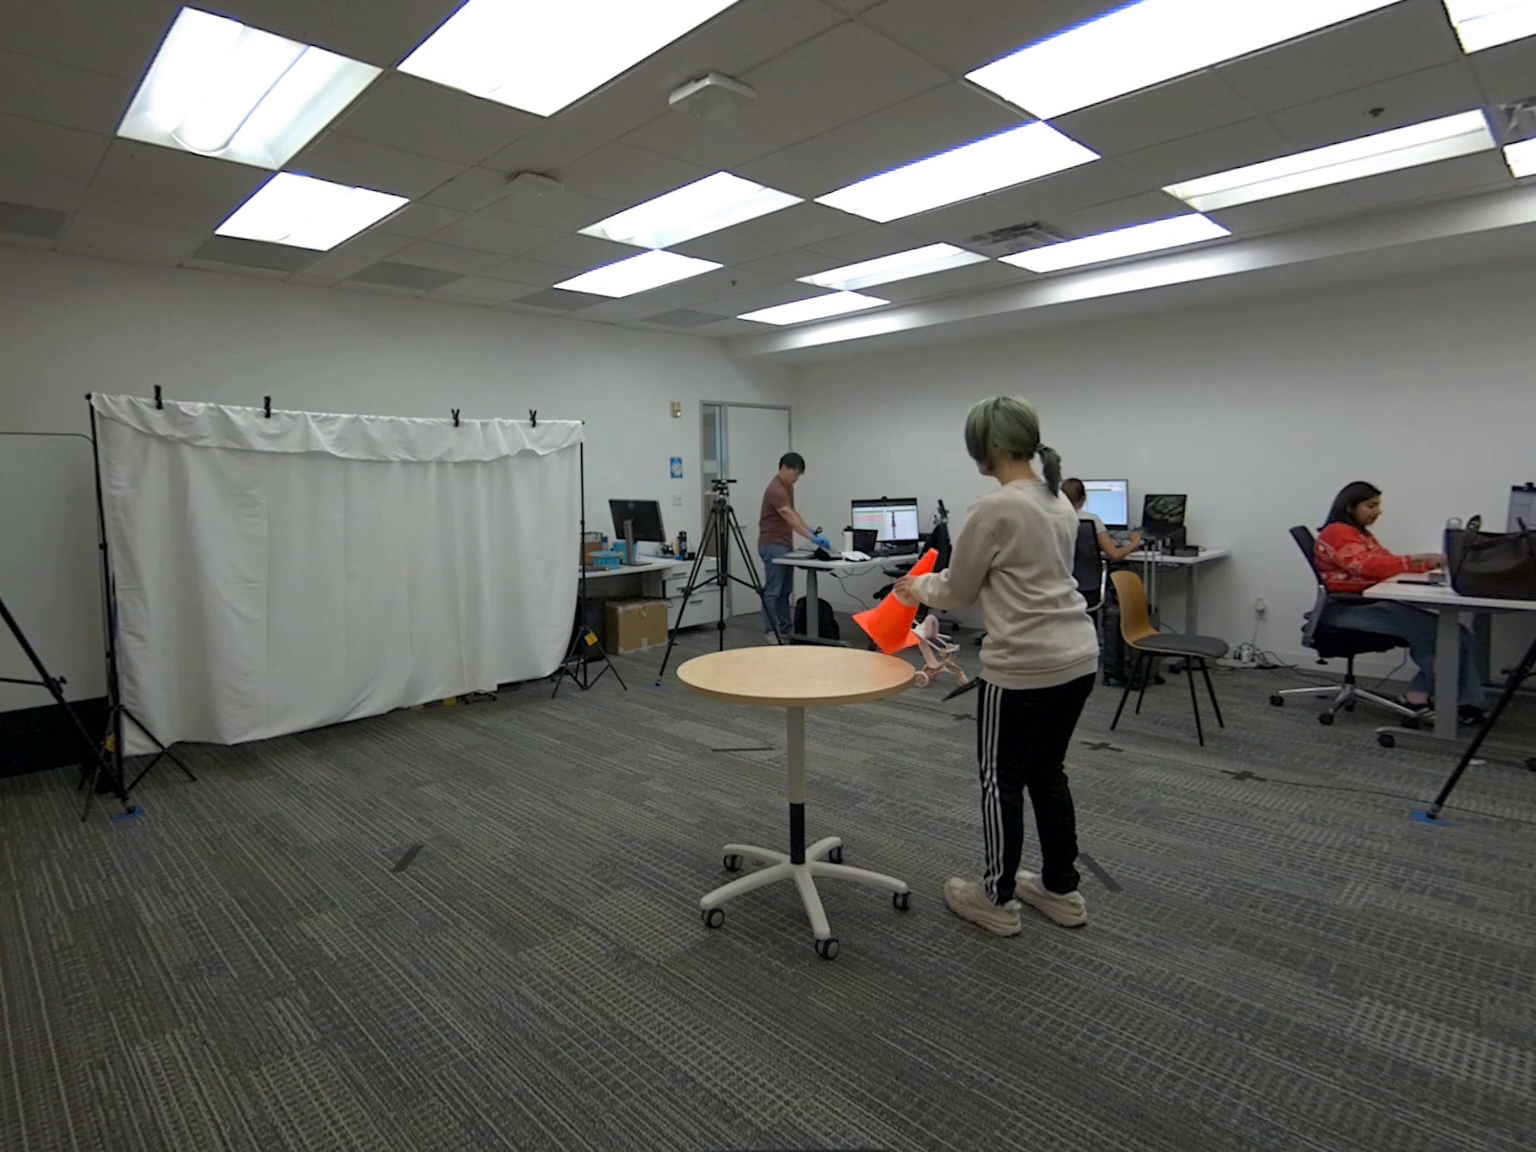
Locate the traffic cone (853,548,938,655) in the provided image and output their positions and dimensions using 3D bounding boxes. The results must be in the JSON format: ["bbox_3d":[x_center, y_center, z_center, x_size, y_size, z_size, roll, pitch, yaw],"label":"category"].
[{"bbox_3d":[0.508,0.059,3.019,0.200,0.379,0.211,-10,49,-39],"label":"traffic cone"}]
